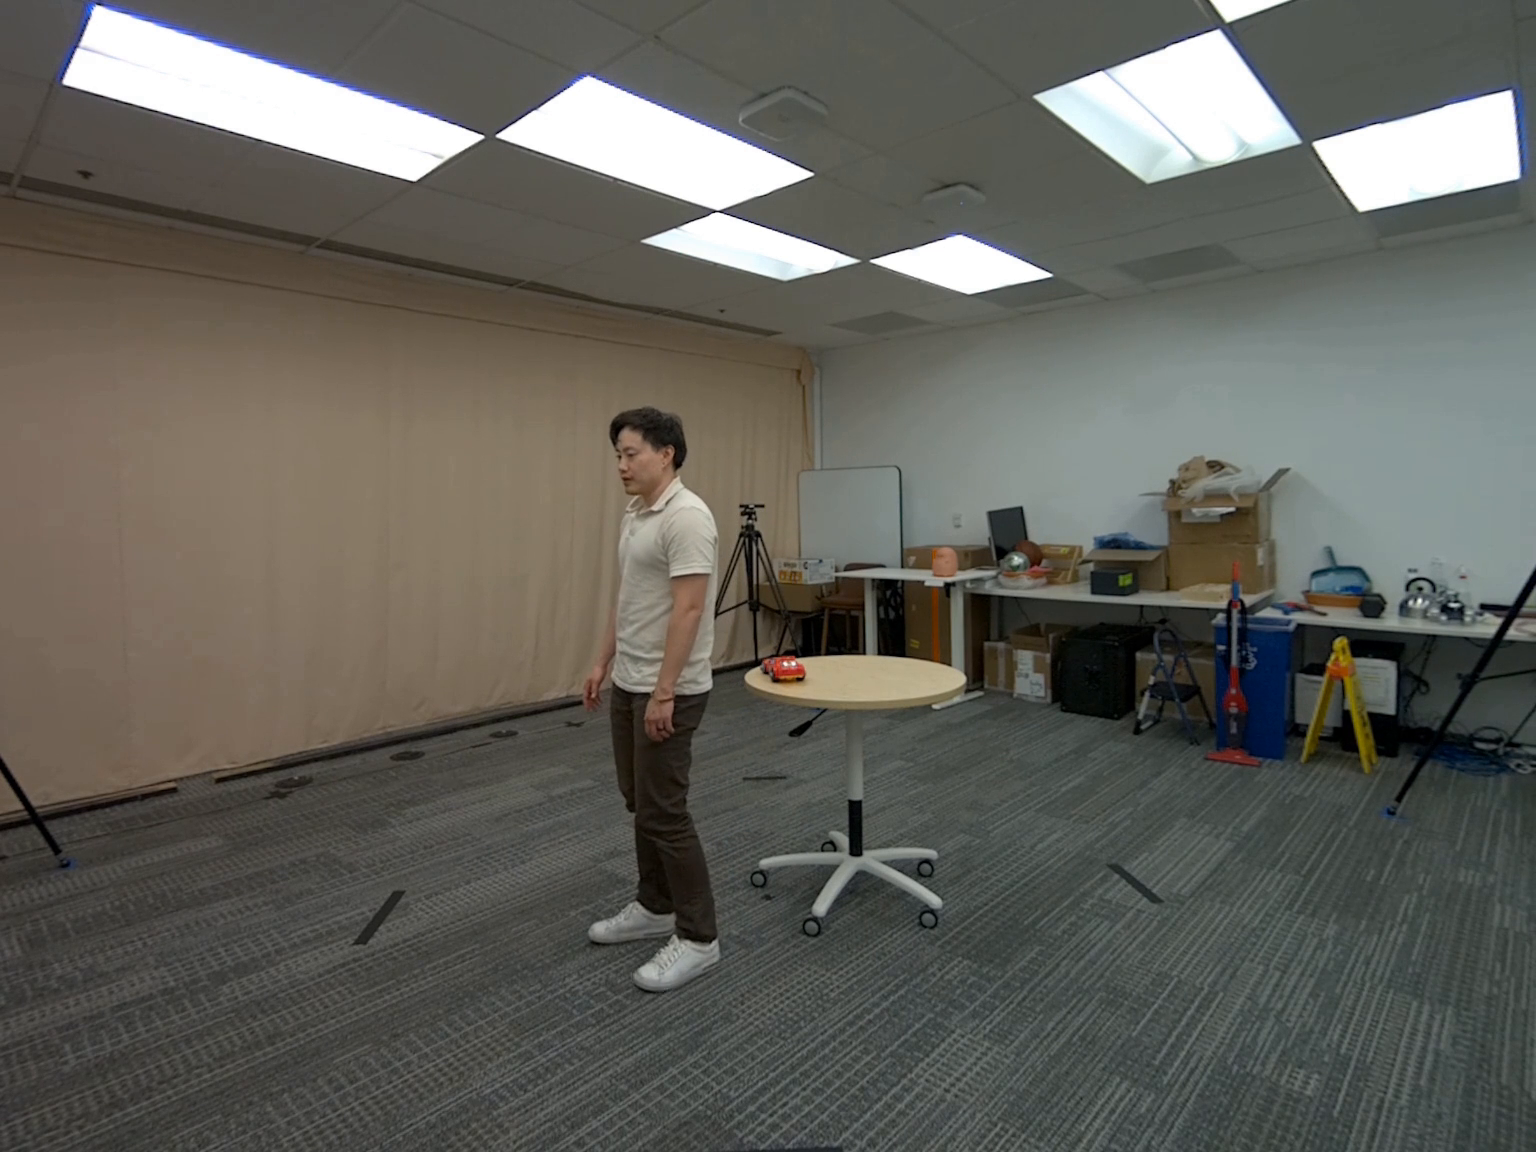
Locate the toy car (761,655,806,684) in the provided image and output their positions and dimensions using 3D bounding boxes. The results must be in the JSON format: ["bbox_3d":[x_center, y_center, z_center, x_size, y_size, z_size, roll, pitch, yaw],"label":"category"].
[{"bbox_3d":[0.065,0.327,2.949,0.129,0.083,0.256,-4,-6,-11],"label":"toy car"}]
